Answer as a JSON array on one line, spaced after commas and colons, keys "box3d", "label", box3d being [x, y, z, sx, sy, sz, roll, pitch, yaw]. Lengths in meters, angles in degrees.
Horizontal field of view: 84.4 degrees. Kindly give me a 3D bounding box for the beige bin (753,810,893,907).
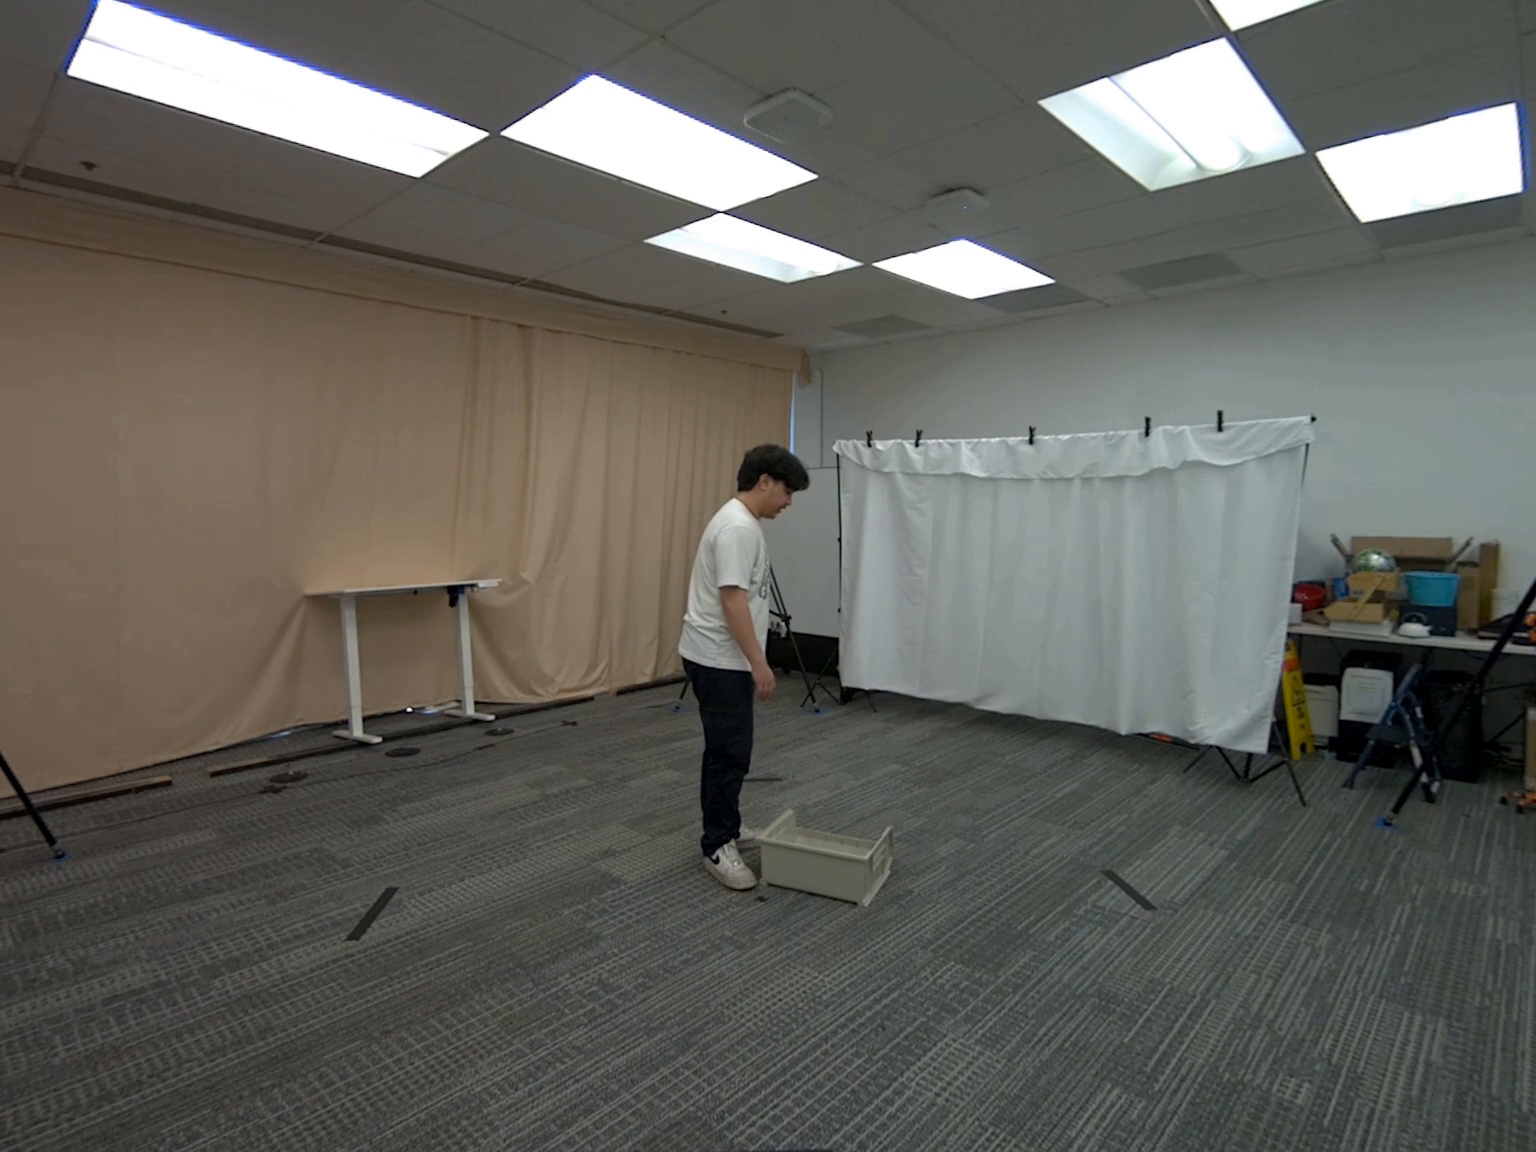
[{"box3d": [0.225, 1.038, 3.160, 0.433, 0.188, 0.369, 2, 6, 25], "label": "beige bin"}]
